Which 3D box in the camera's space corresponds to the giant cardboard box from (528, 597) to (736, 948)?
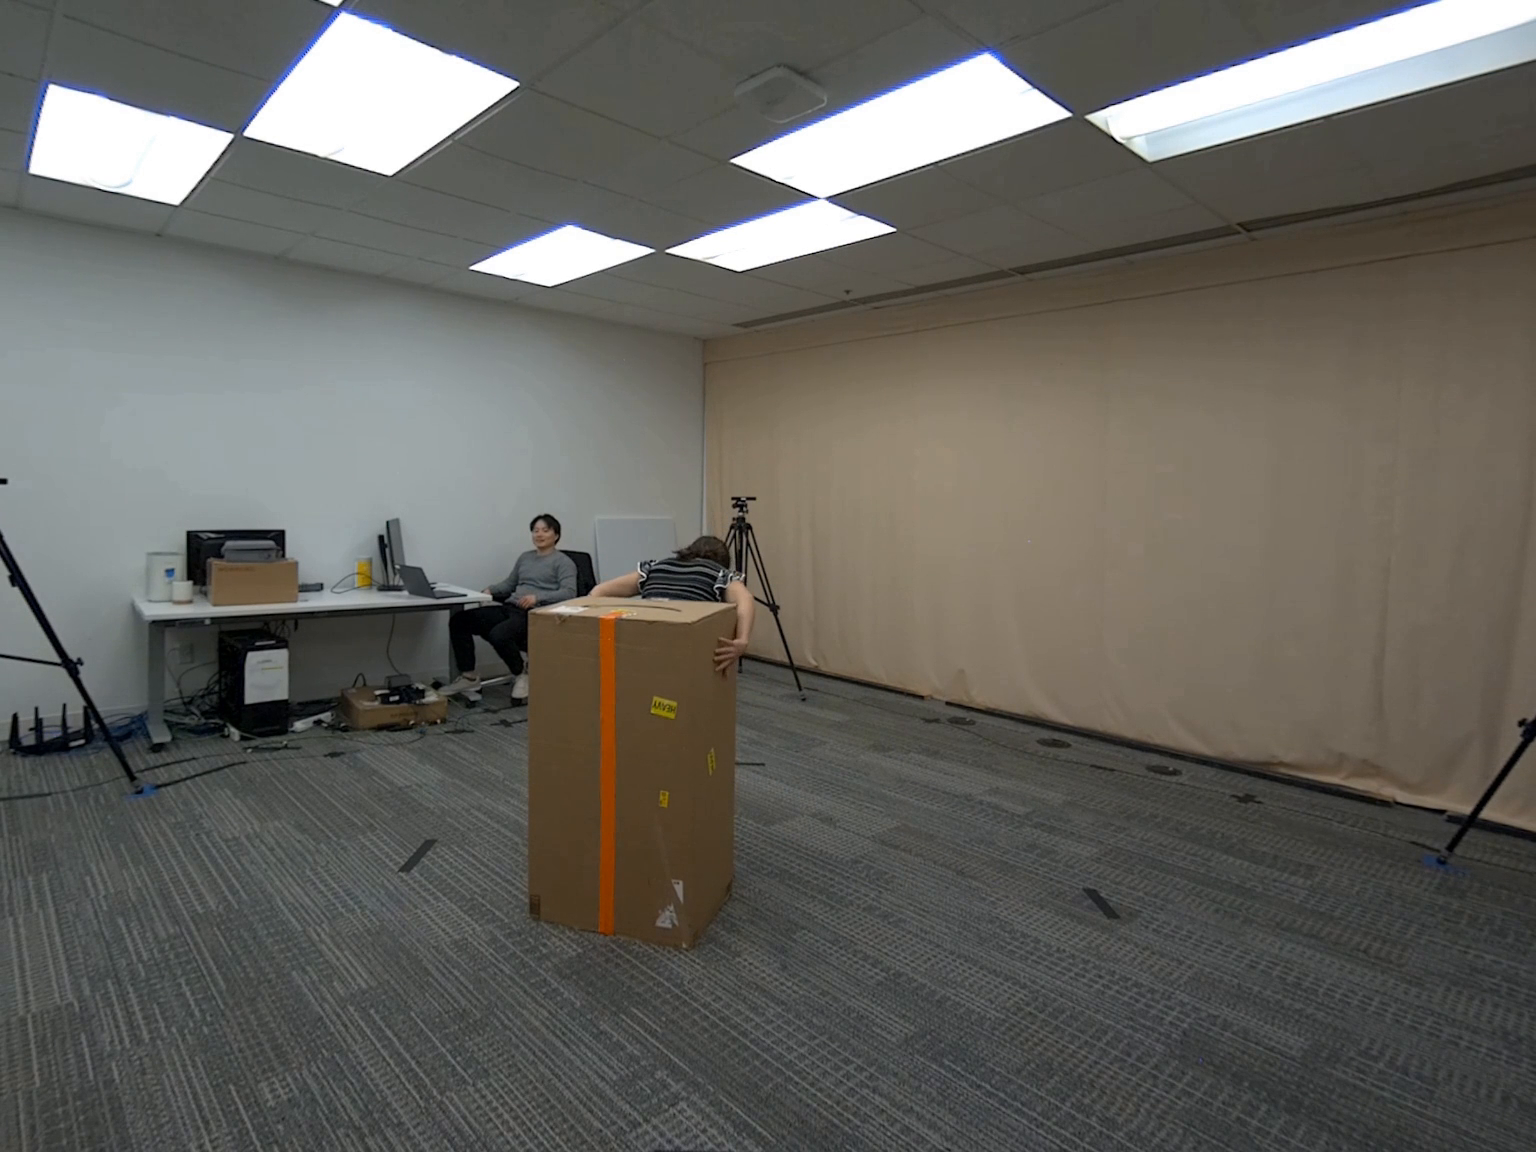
[{"bbox_3d":[-0.450,0.616,2.829,0.586,1.022,0.421,3,5,18],"label":"giant cardboard box"}]
